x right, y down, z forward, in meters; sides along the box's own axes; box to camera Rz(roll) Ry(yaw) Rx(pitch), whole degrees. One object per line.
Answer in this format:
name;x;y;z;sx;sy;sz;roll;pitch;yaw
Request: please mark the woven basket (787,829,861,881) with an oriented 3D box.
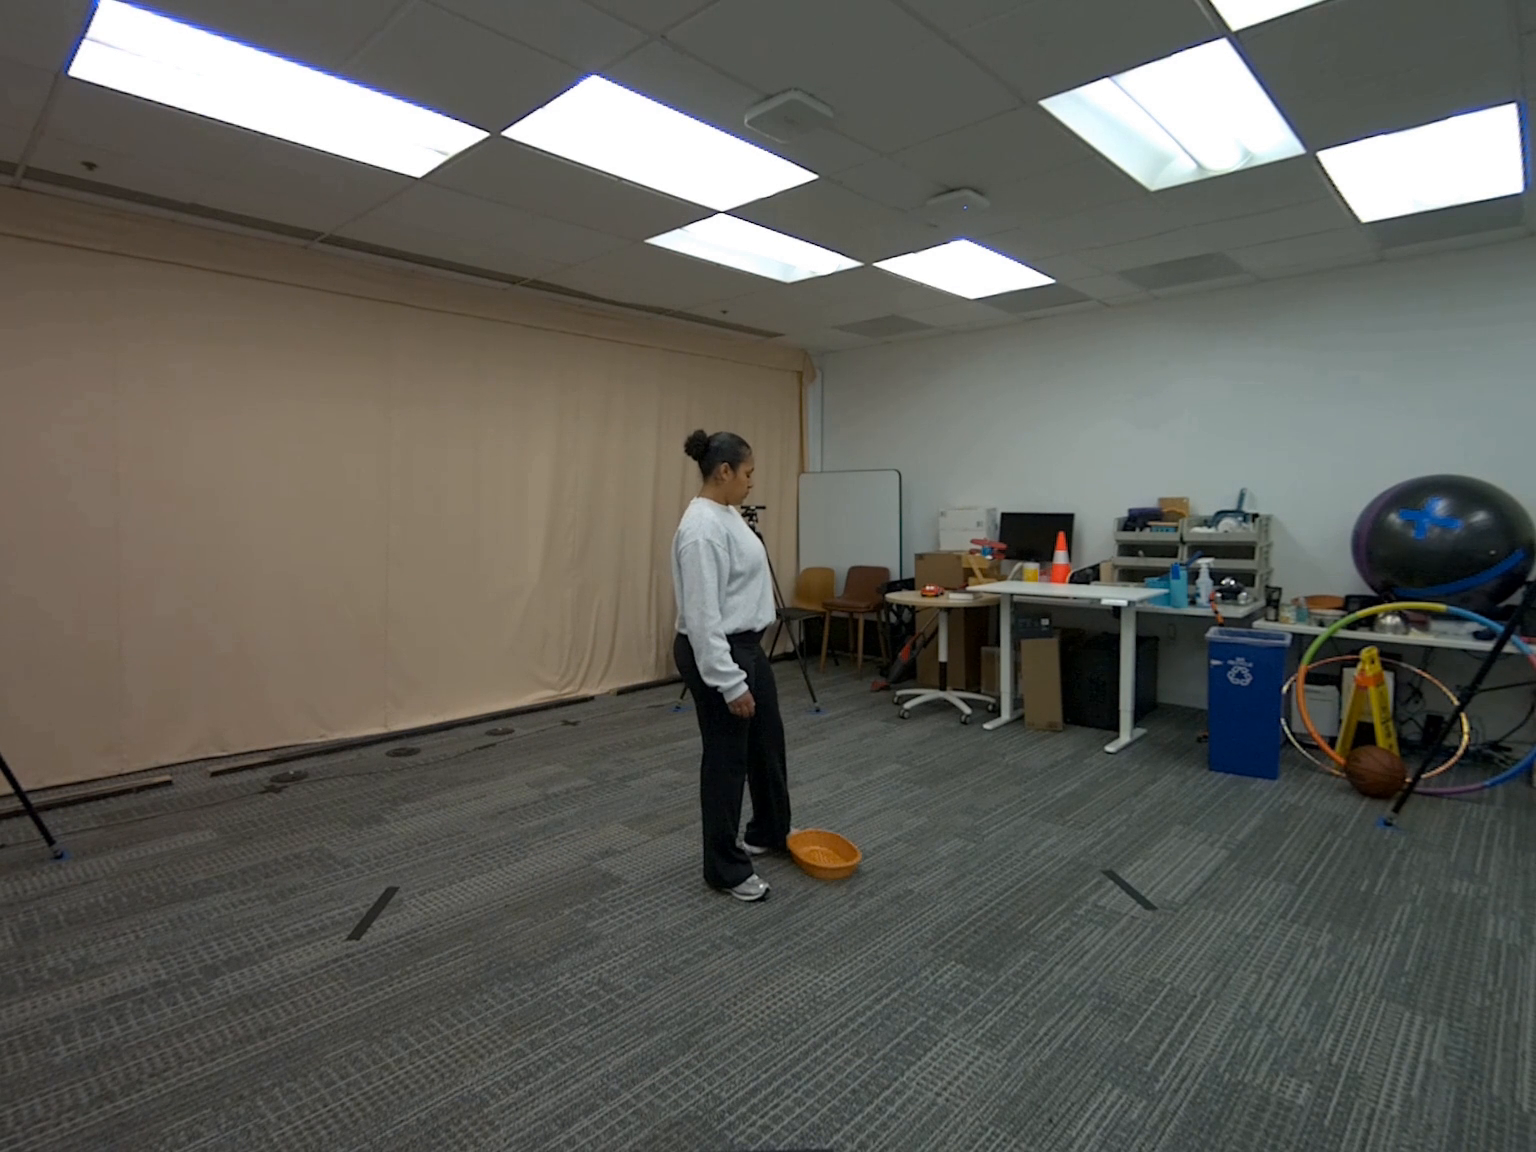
woven basket;0.230;1.086;3.234;0.248;0.073;0.358;-2;6;-18
